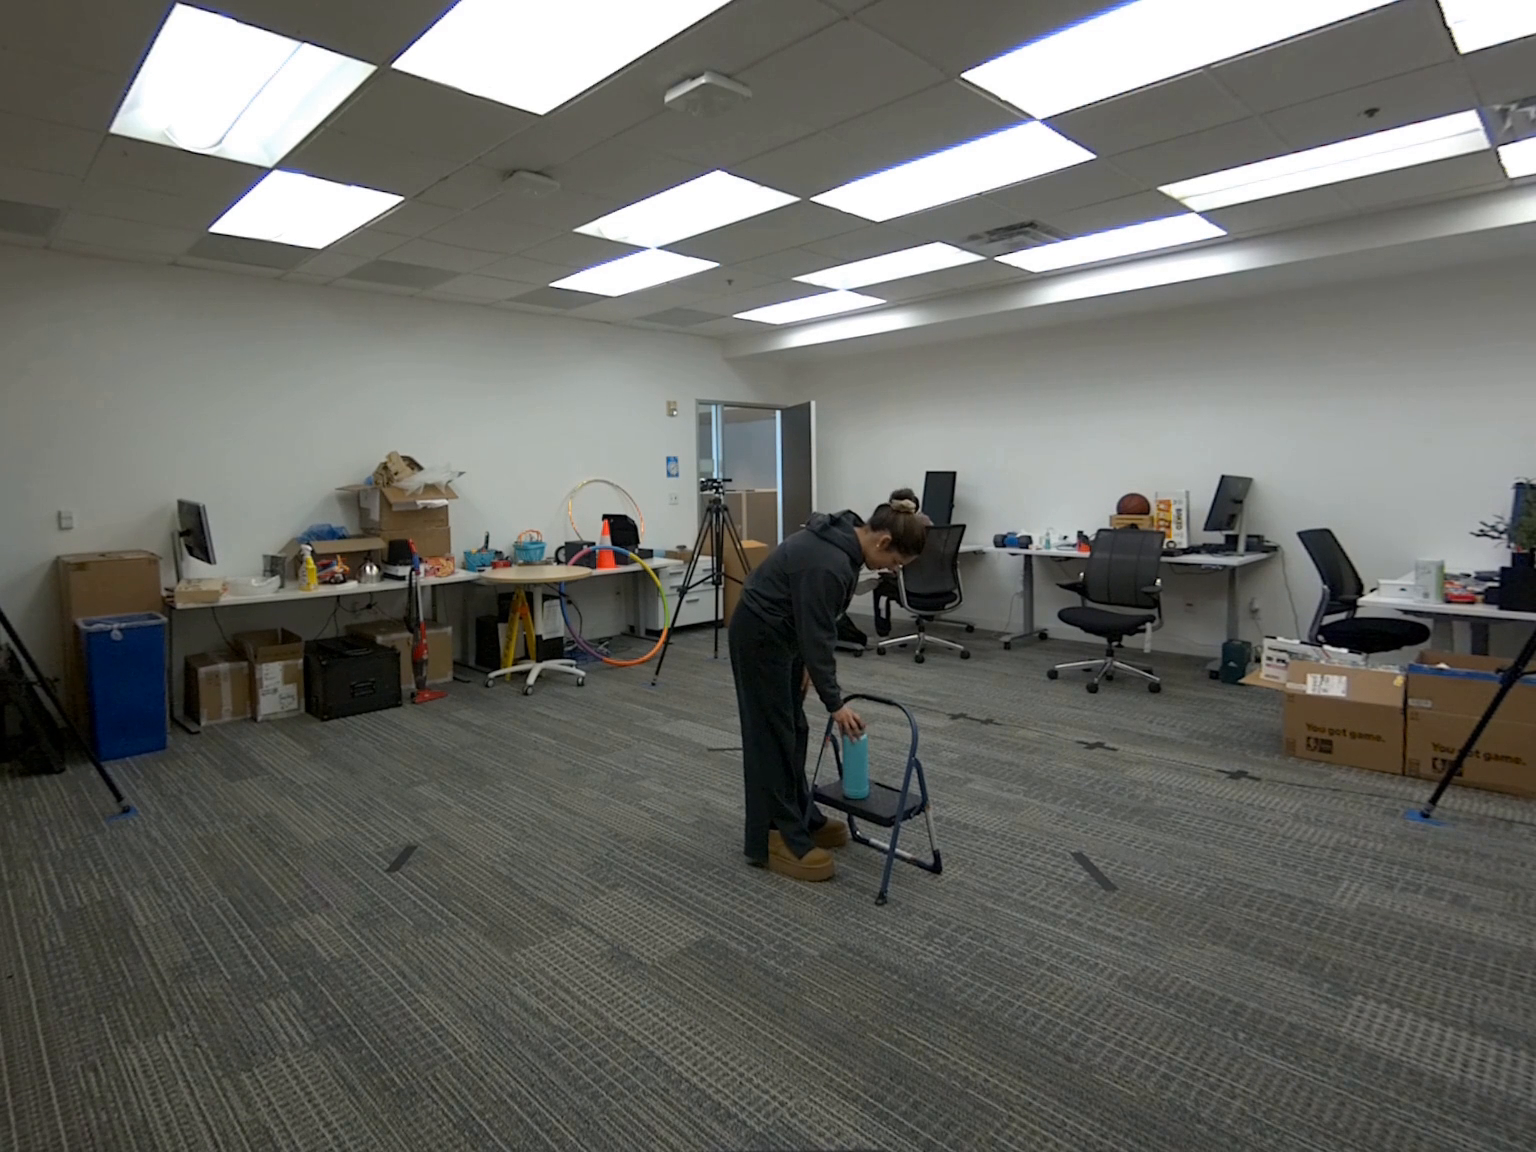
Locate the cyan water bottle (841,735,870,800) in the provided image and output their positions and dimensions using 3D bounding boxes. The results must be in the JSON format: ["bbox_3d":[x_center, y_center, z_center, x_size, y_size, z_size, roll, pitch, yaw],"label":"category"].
[{"bbox_3d":[0.304,0.632,3.022,0.092,0.281,0.093,-3,10,-1],"label":"cyan water bottle"}]
